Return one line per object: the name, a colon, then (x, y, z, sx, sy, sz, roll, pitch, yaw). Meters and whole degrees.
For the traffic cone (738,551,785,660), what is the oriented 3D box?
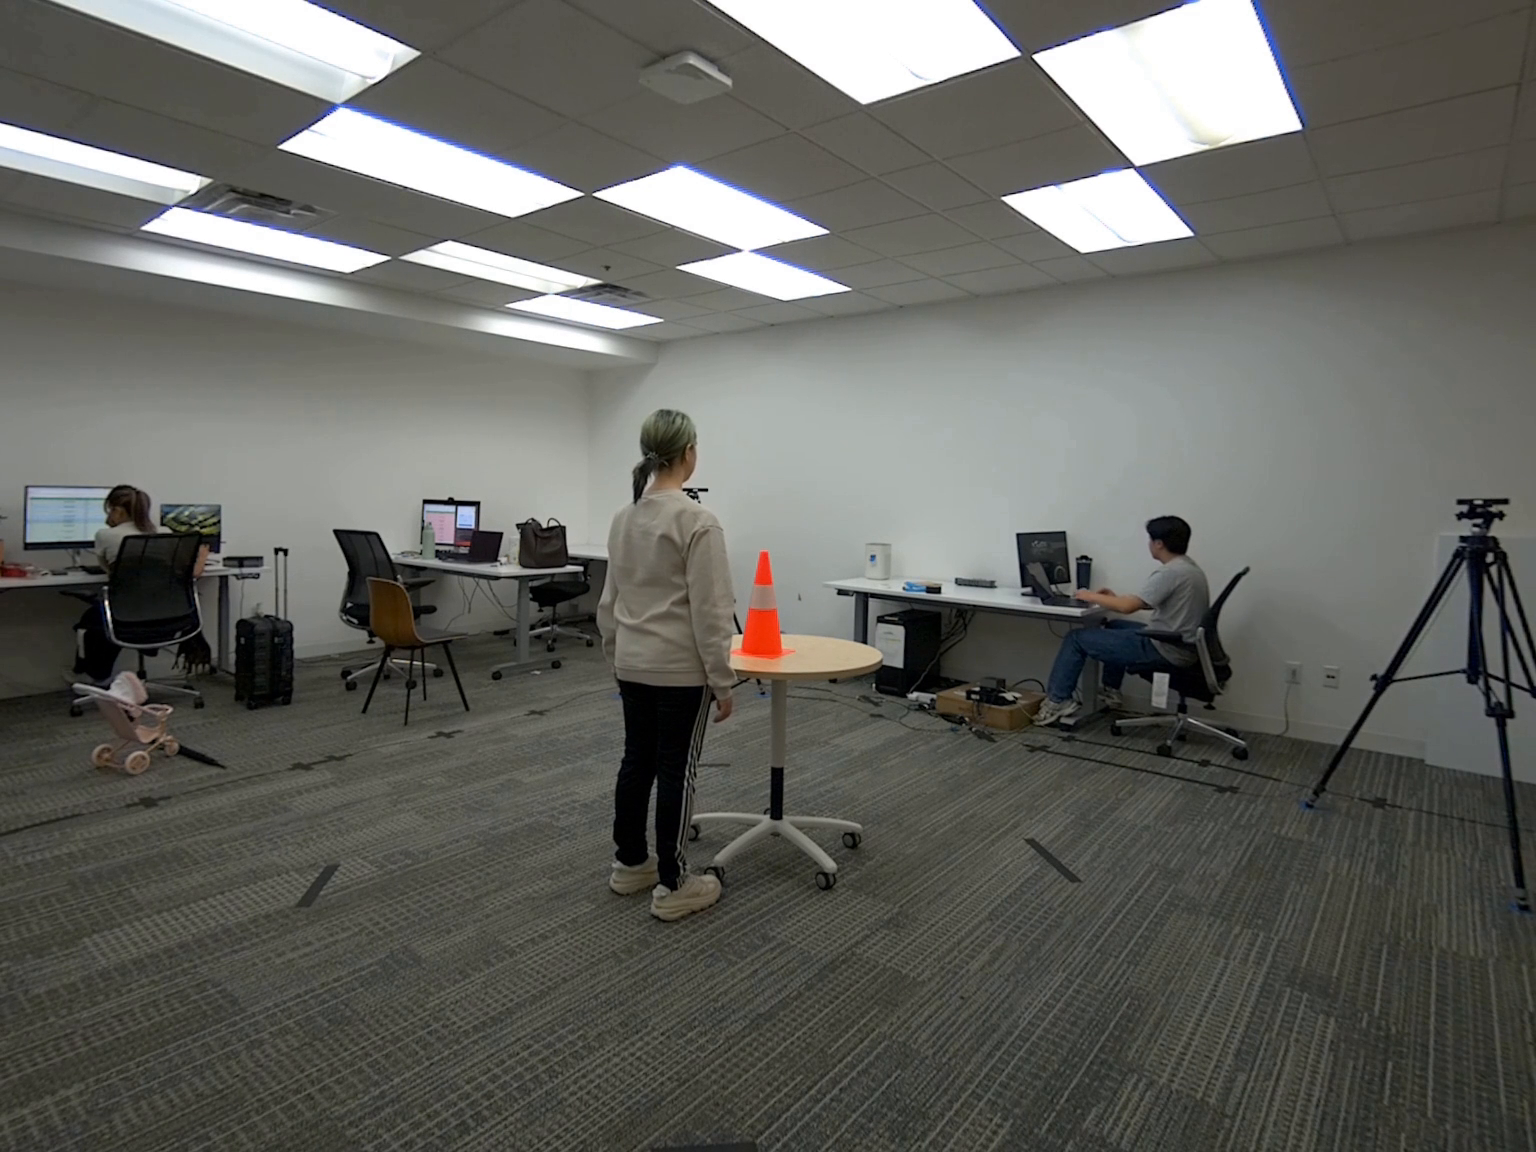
traffic cone: (-0.027, 0.096, 3.181, 0.211, 0.382, 0.198, 4, 4, 30)
